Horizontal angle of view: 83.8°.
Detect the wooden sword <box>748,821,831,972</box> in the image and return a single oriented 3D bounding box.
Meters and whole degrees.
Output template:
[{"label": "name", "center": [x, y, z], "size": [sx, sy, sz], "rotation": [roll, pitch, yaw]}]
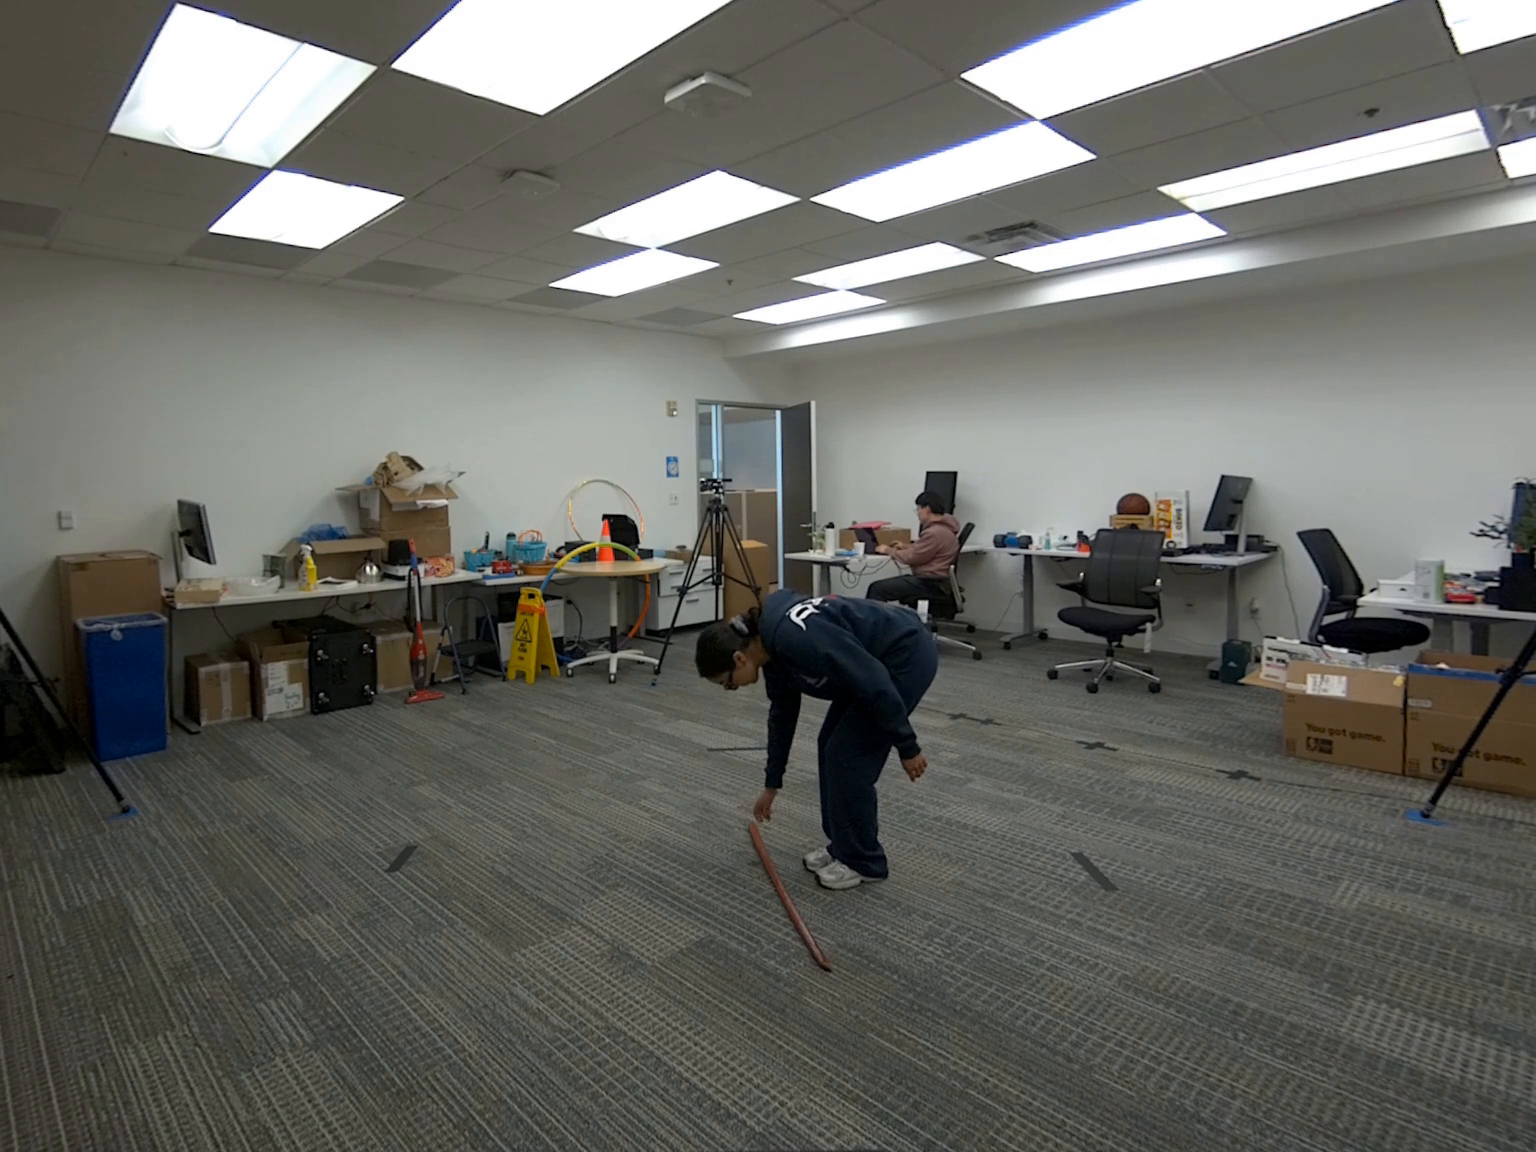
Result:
[{"label": "wooden sword", "center": [0.040, 1.039, 2.917], "size": [0.050, 0.024, 1.040], "rotation": [16, 2, -13]}]
